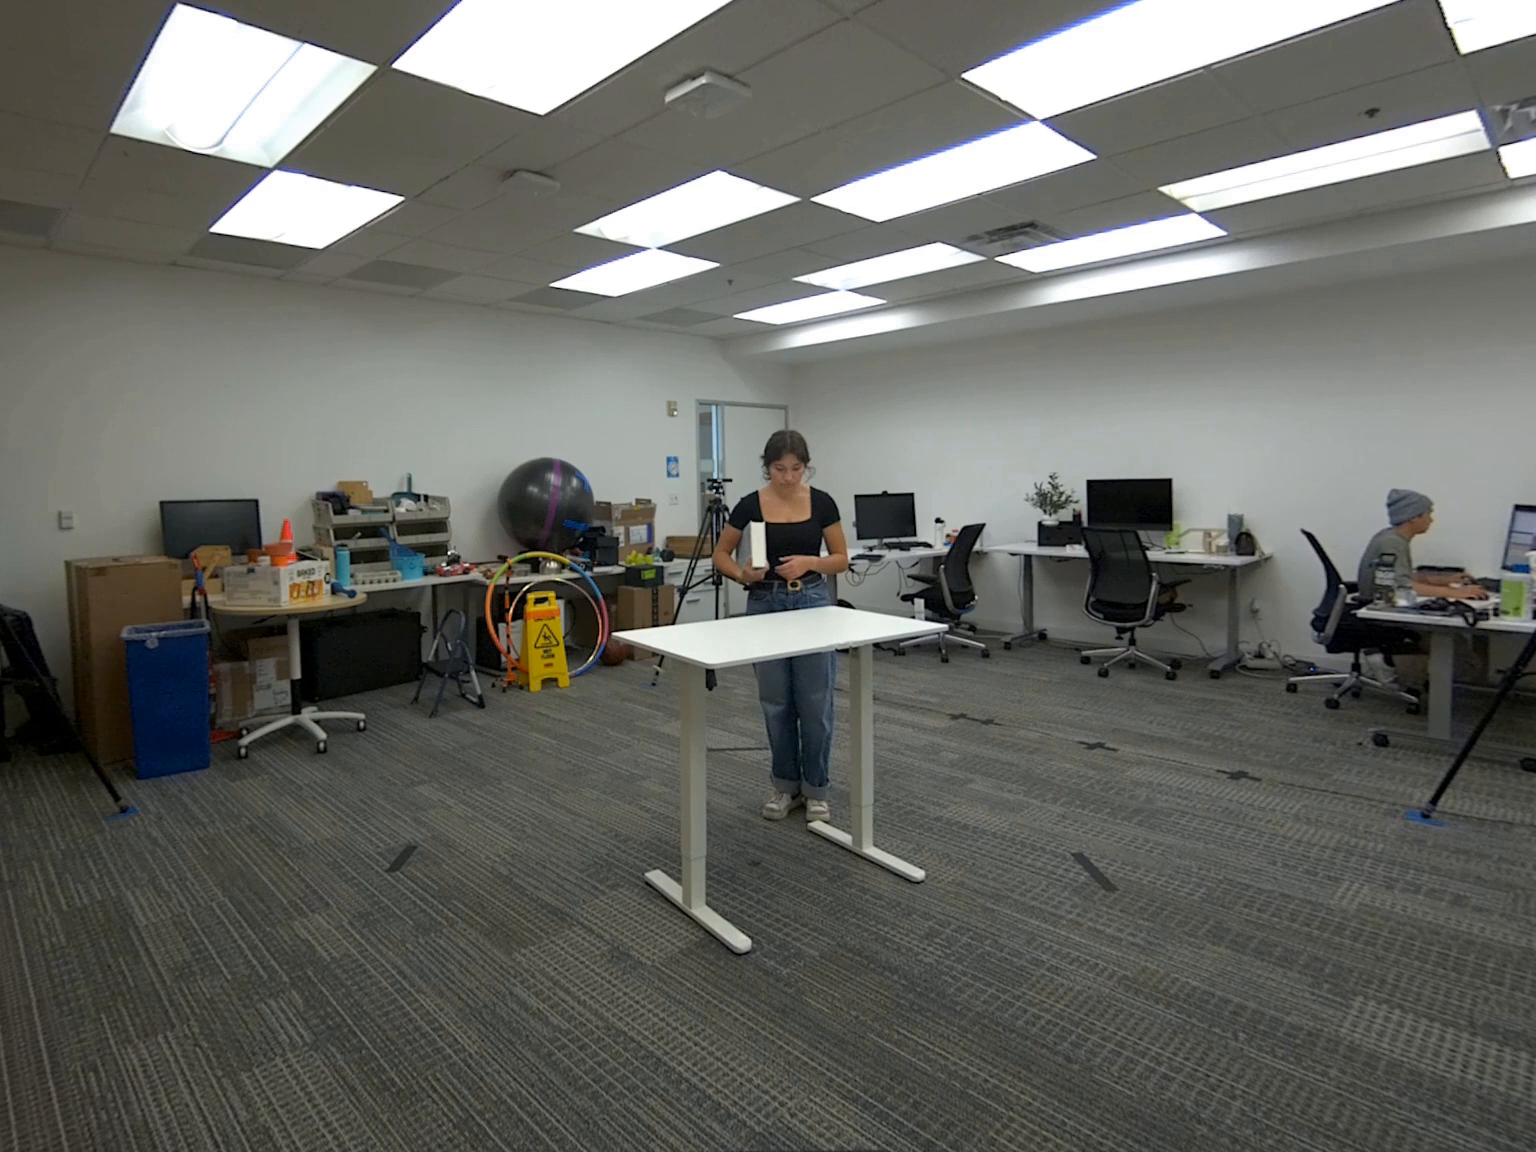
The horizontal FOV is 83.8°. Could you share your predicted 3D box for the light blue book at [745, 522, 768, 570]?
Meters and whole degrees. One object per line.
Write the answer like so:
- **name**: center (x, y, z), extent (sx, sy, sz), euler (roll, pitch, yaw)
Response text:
- **light blue book**: center (-0.074, -0.097, 3.479), extent (0.058, 0.194, 0.260), euler (3, -13, -12)
